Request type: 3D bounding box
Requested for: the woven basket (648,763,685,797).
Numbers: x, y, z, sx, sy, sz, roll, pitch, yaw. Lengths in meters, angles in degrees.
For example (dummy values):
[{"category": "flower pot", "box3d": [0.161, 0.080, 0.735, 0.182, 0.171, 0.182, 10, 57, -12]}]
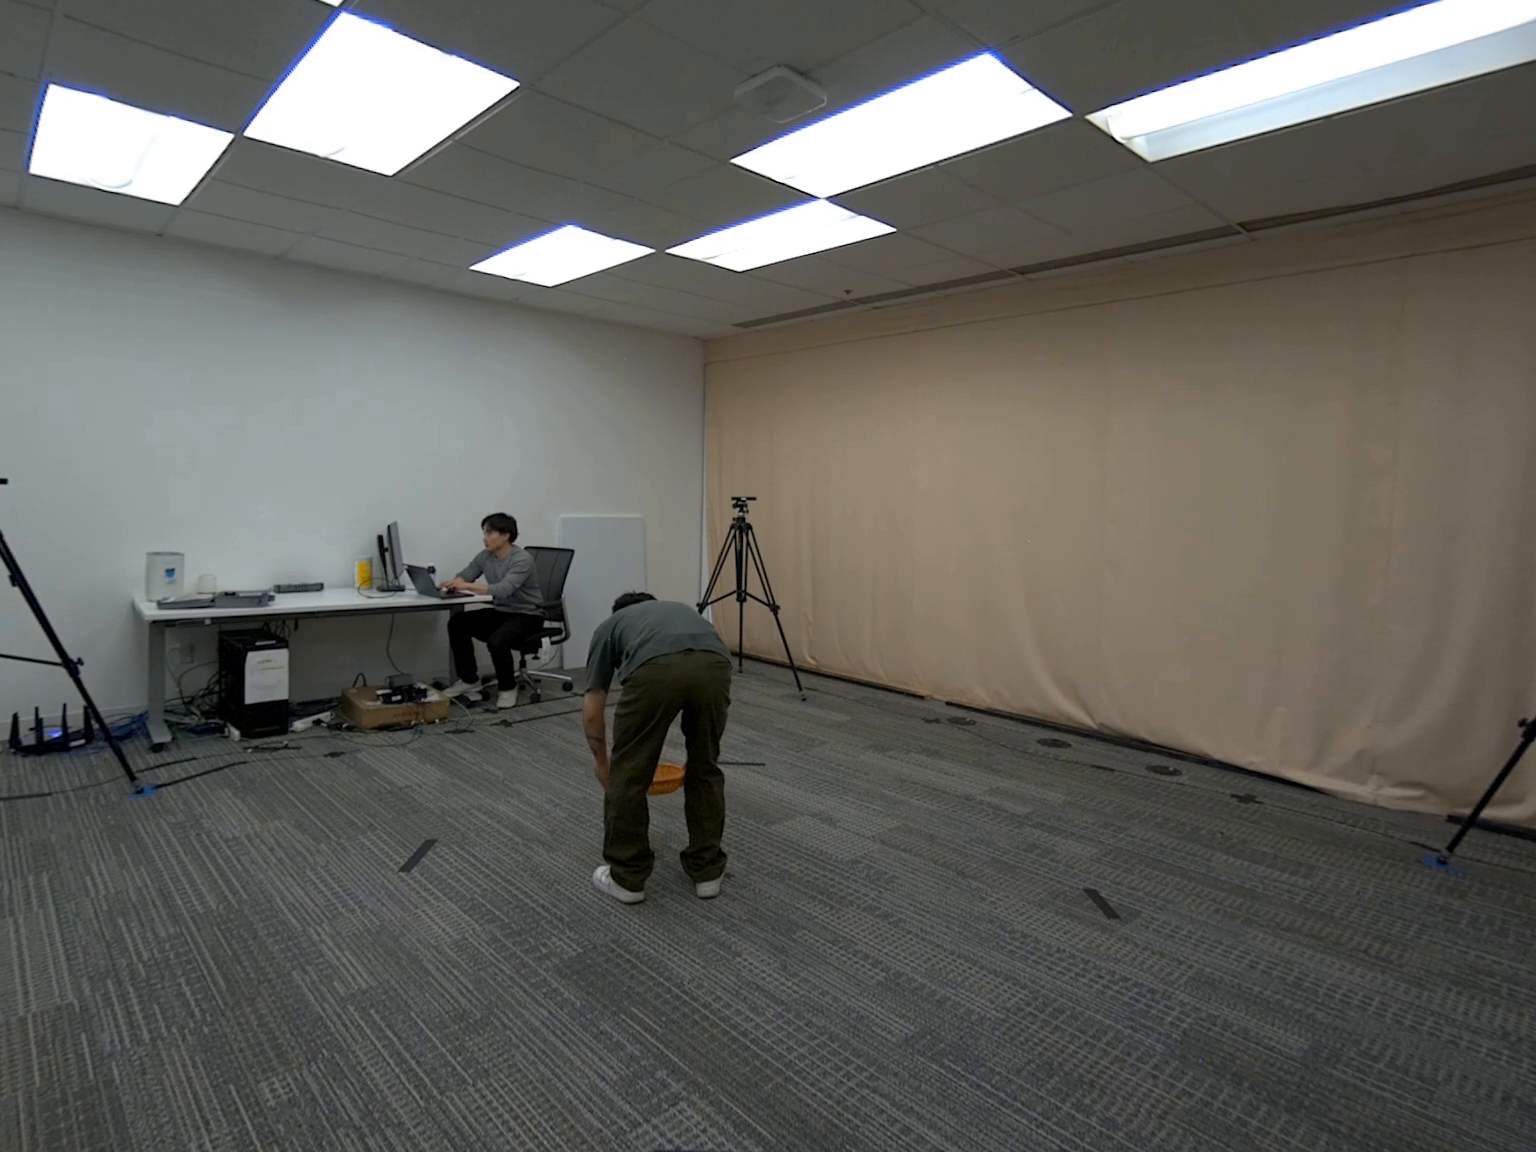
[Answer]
[{"category": "woven basket", "box3d": [-0.500, 0.814, 3.365, 0.346, 0.073, 0.256, 0, 3, -16]}]
